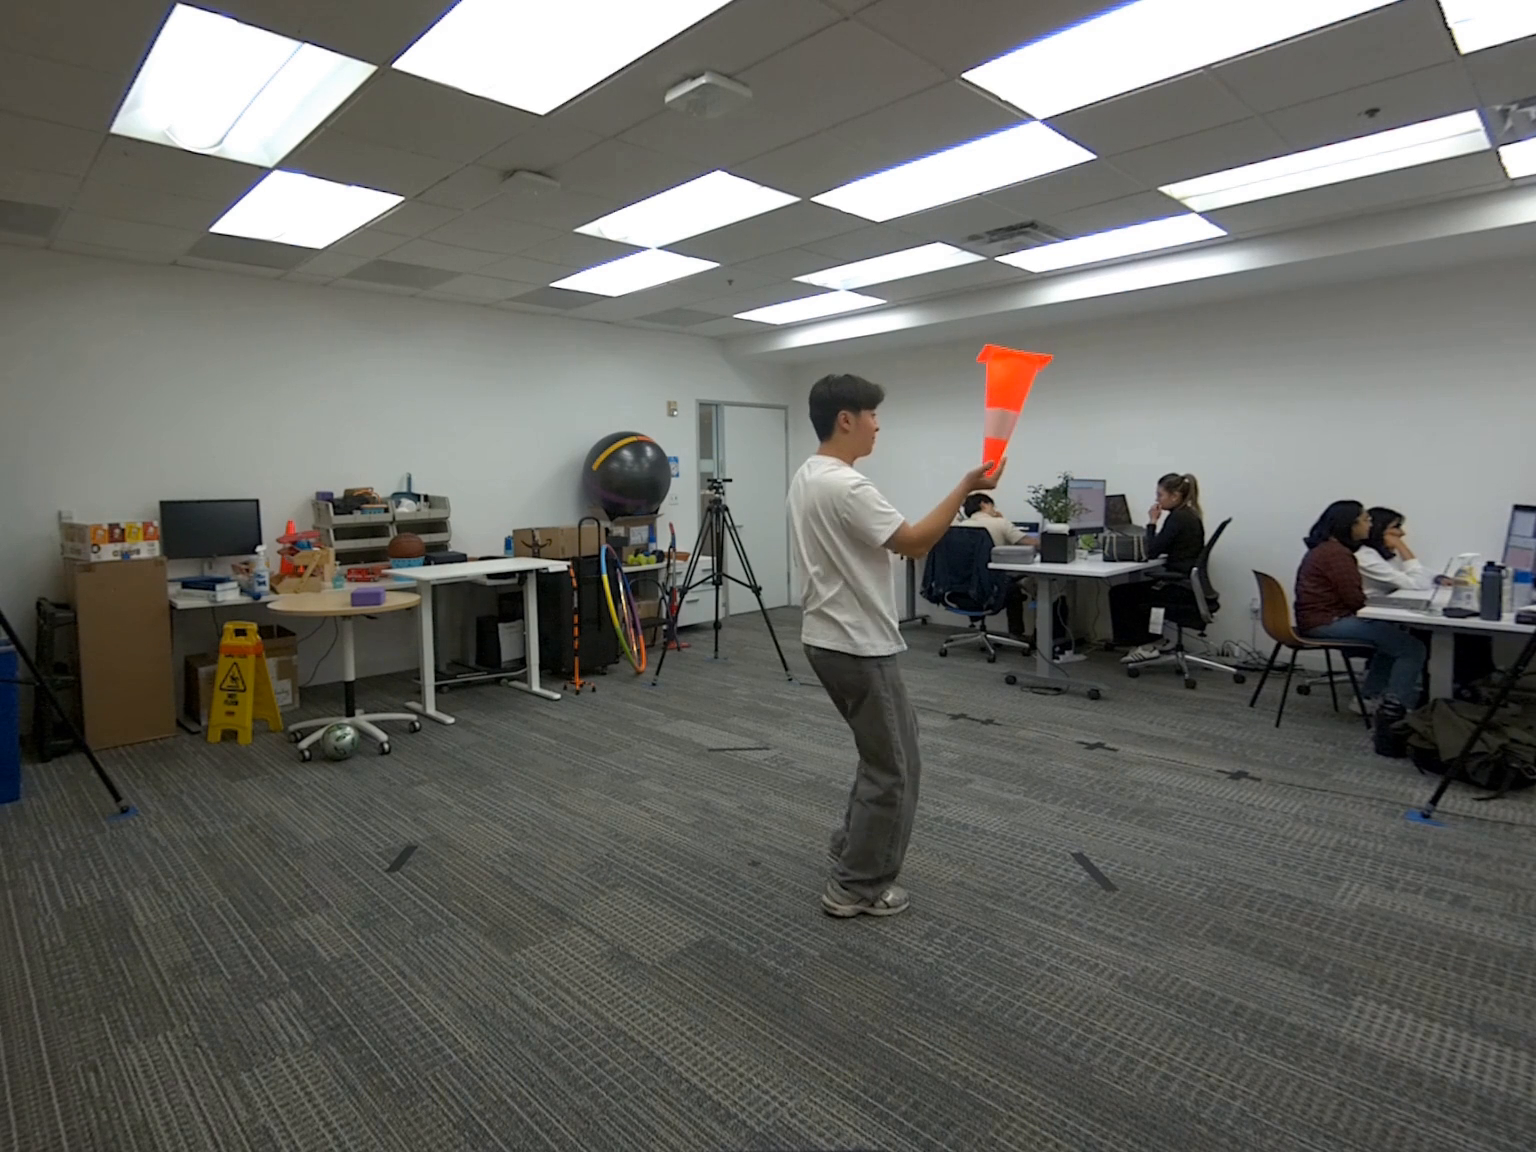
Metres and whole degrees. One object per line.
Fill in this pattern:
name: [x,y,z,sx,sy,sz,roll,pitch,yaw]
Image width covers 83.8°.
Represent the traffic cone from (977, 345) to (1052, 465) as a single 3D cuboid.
traffic cone: [0.732,-0.487,2.625,0.208,0.382,0.201,11,4,11]
